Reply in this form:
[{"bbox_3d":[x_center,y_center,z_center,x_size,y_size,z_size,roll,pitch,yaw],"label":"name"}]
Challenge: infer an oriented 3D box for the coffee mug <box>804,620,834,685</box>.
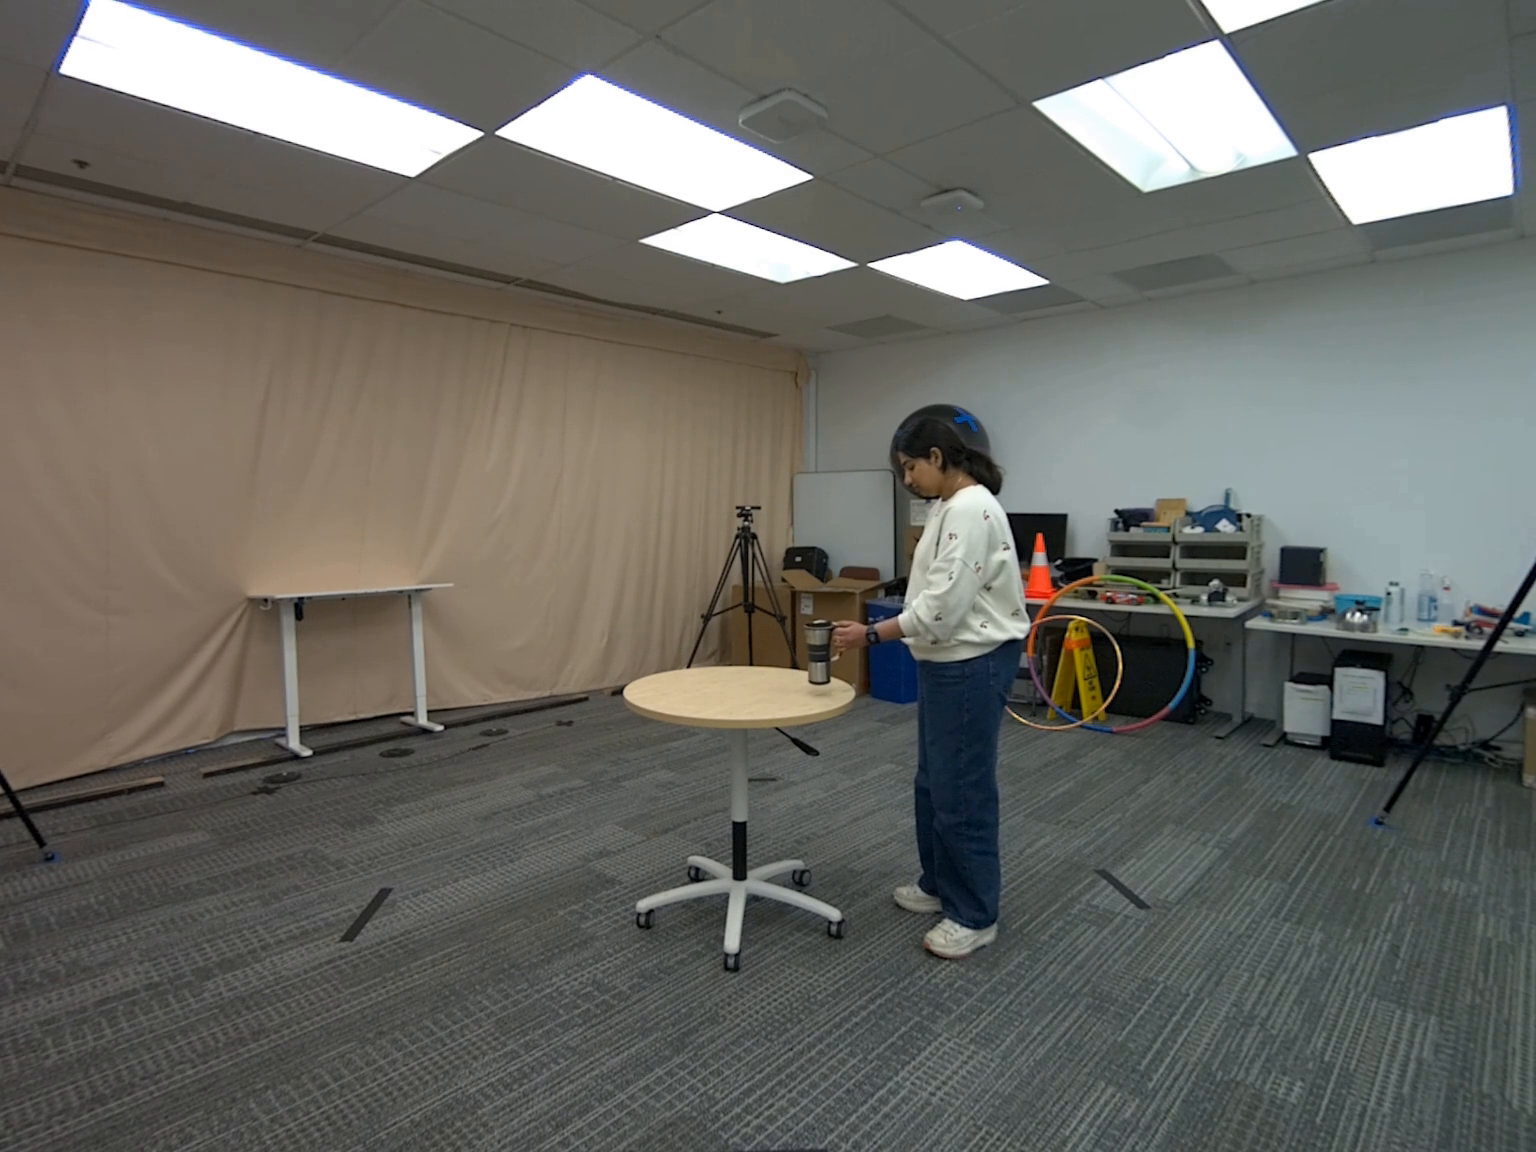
[{"bbox_3d":[0.189,0.247,2.682,0.126,0.203,0.085,-1,2,40],"label":"coffee mug"}]
